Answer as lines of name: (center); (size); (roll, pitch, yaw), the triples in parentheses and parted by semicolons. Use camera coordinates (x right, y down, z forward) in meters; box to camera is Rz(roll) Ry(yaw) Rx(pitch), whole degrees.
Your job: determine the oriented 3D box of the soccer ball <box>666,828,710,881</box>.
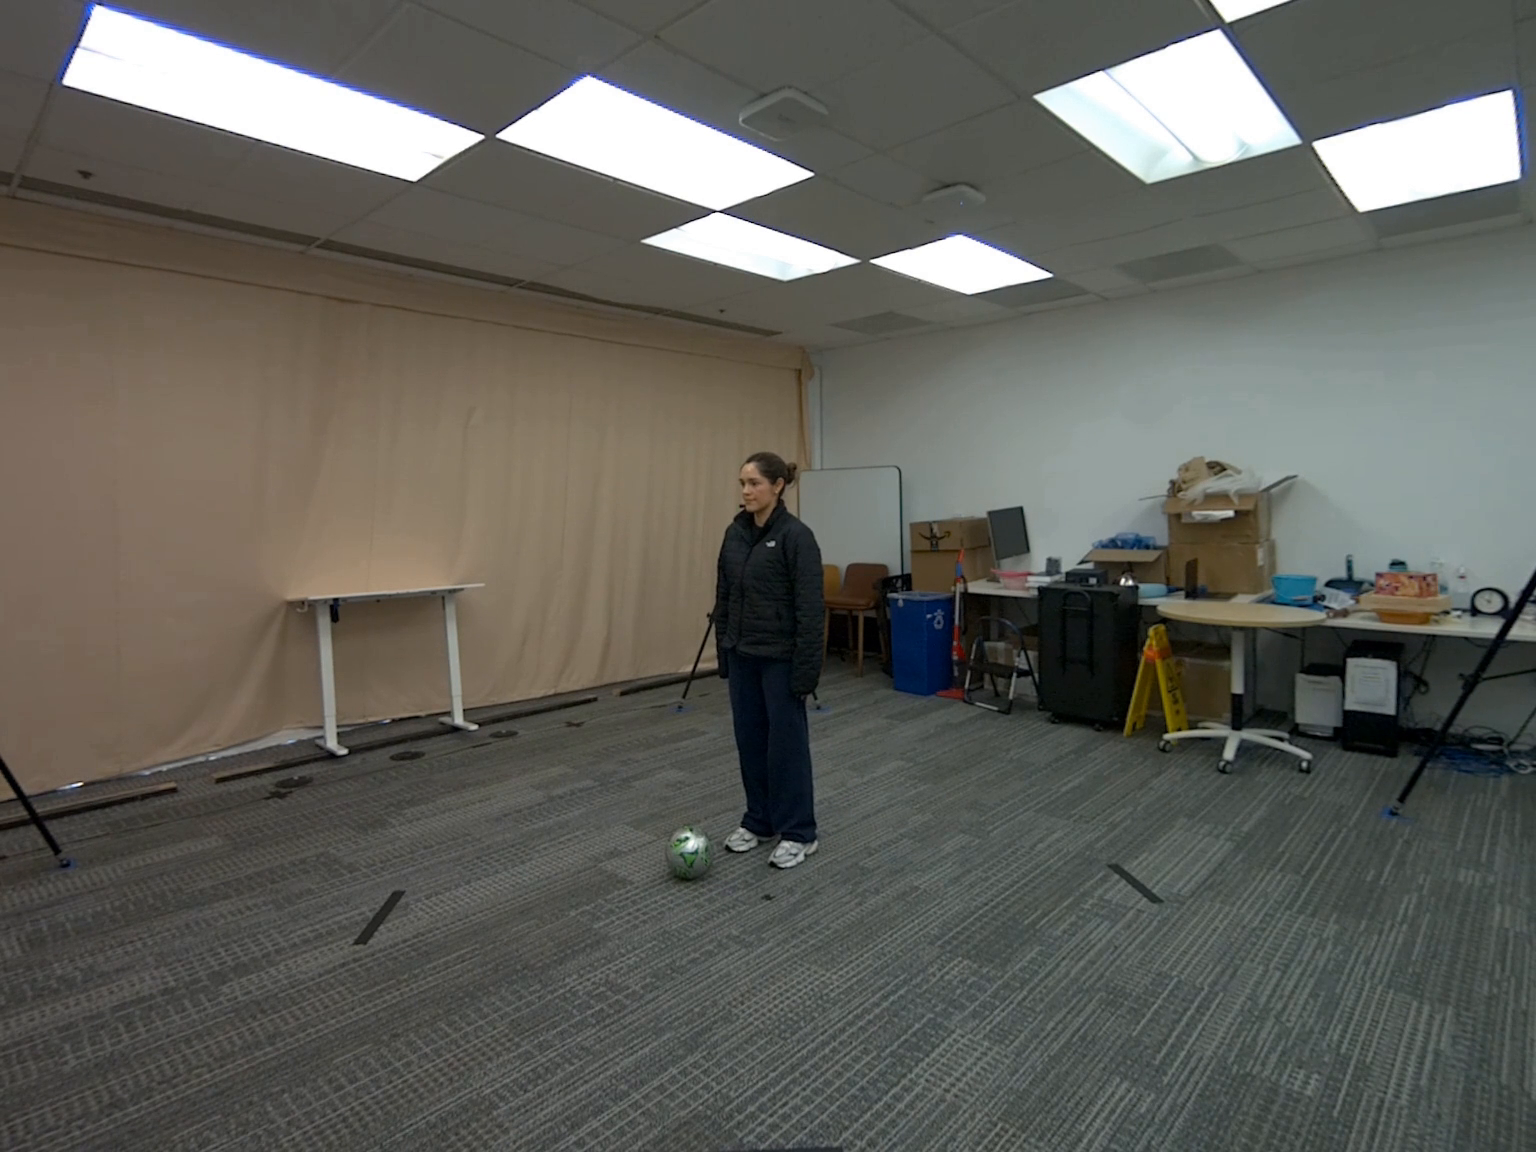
soccer ball: (-0.293, 1.033, 3.162); (0.187, 0.187, 0.188); (-1, 4, -2)
